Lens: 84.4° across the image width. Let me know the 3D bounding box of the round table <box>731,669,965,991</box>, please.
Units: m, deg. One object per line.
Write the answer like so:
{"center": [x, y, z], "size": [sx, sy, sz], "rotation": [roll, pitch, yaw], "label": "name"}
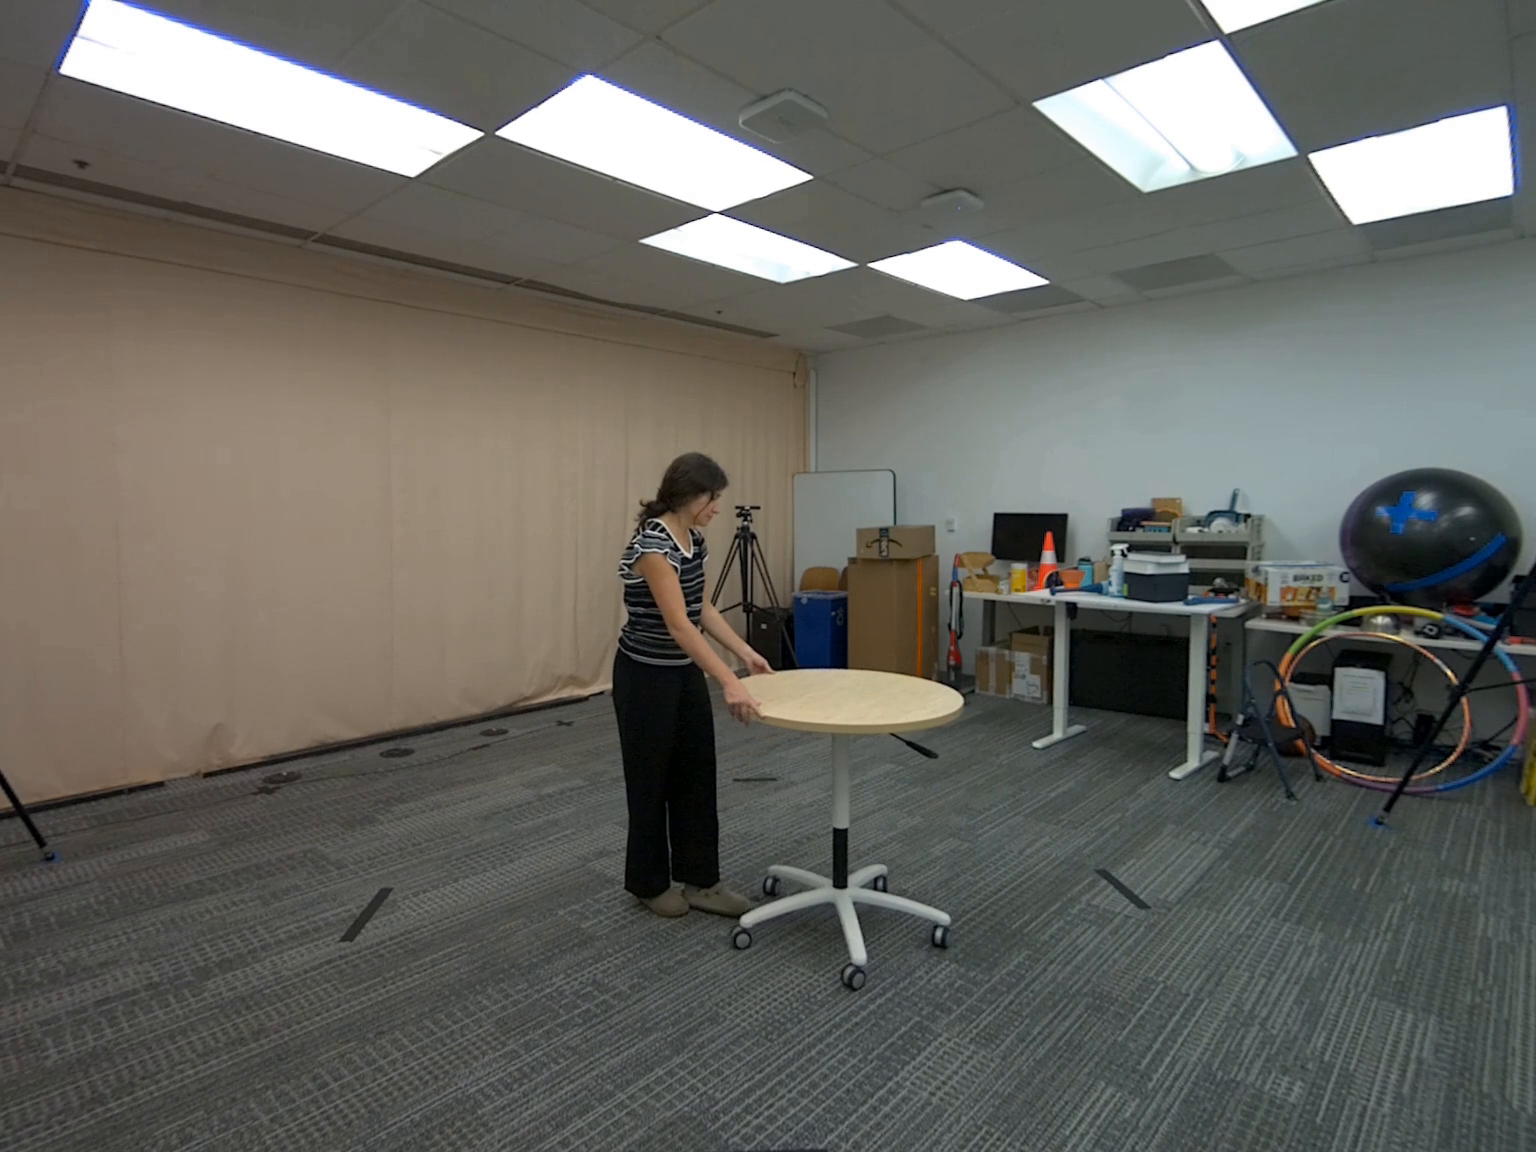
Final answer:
{"center": [0.255, 0.771, 2.741], "size": [0.784, 0.784, 0.788], "rotation": [0, 4, -2], "label": "round table"}
